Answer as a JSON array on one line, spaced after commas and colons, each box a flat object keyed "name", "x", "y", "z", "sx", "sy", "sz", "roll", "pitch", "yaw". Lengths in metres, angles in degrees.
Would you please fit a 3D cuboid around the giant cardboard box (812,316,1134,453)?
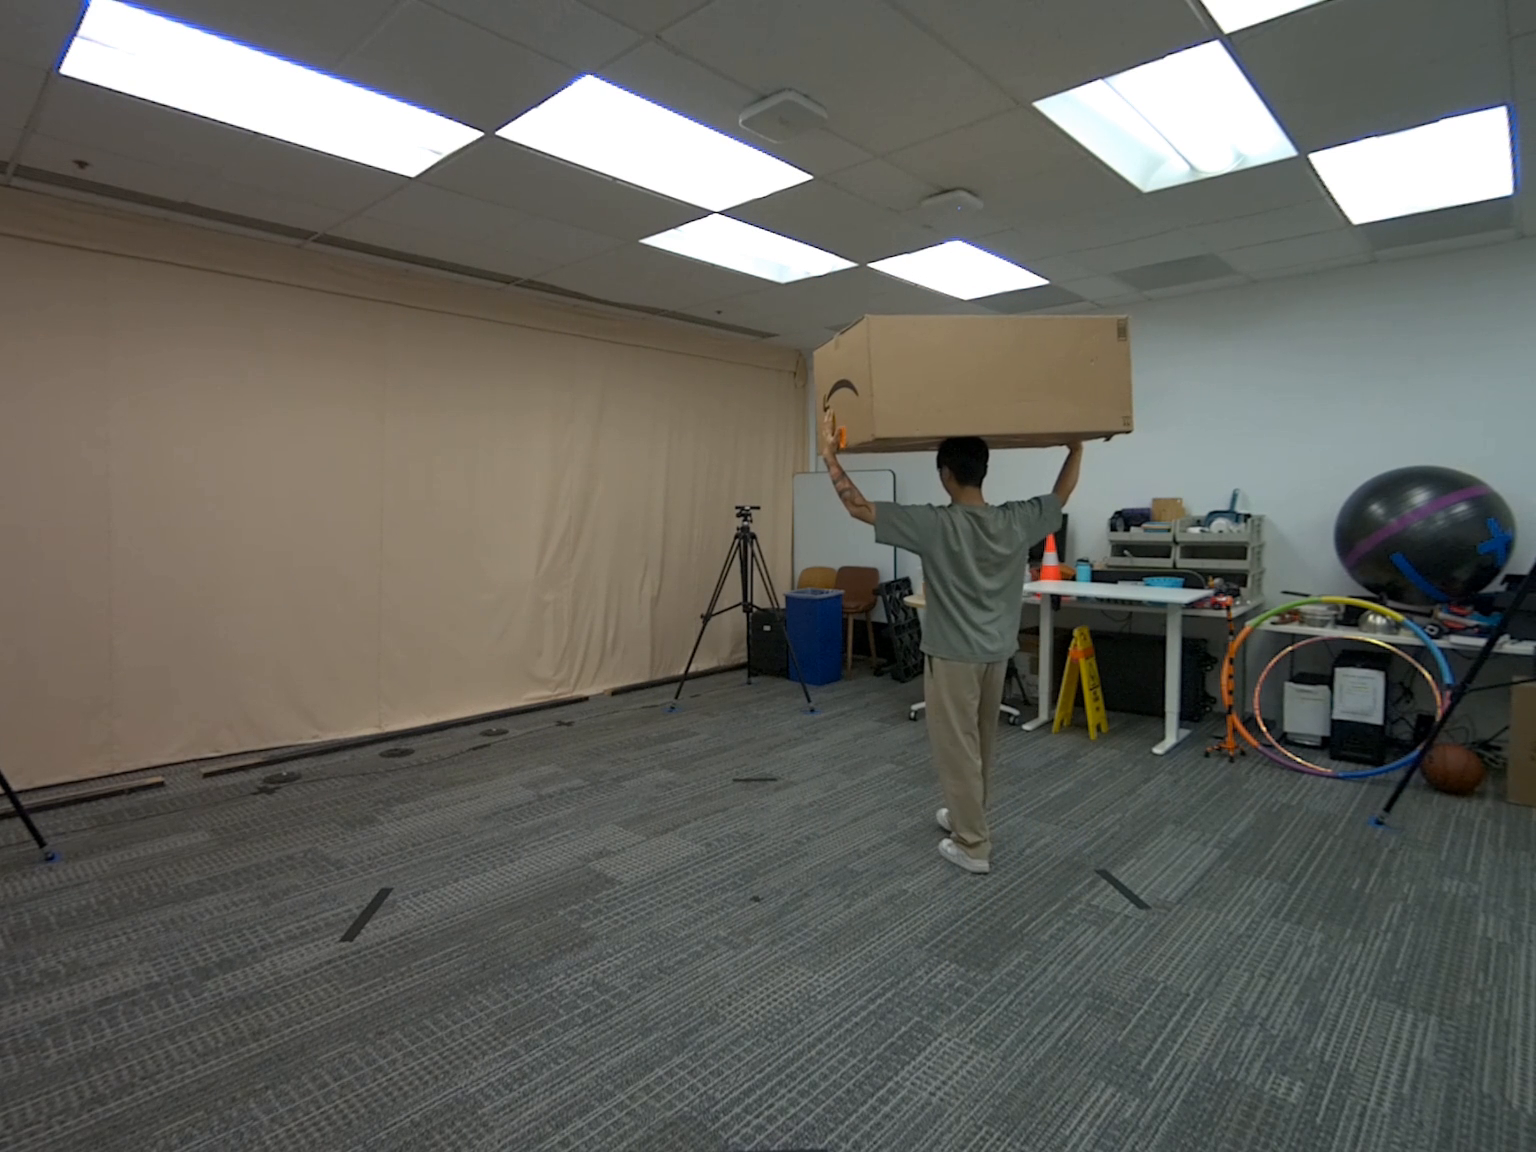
[{"name": "giant cardboard box", "x": 0.762, "y": -0.716, "z": 3.230, "sx": 1.013, "sy": 0.426, "sz": 0.585, "roll": -4, "pitch": 2, "yaw": -13}]
